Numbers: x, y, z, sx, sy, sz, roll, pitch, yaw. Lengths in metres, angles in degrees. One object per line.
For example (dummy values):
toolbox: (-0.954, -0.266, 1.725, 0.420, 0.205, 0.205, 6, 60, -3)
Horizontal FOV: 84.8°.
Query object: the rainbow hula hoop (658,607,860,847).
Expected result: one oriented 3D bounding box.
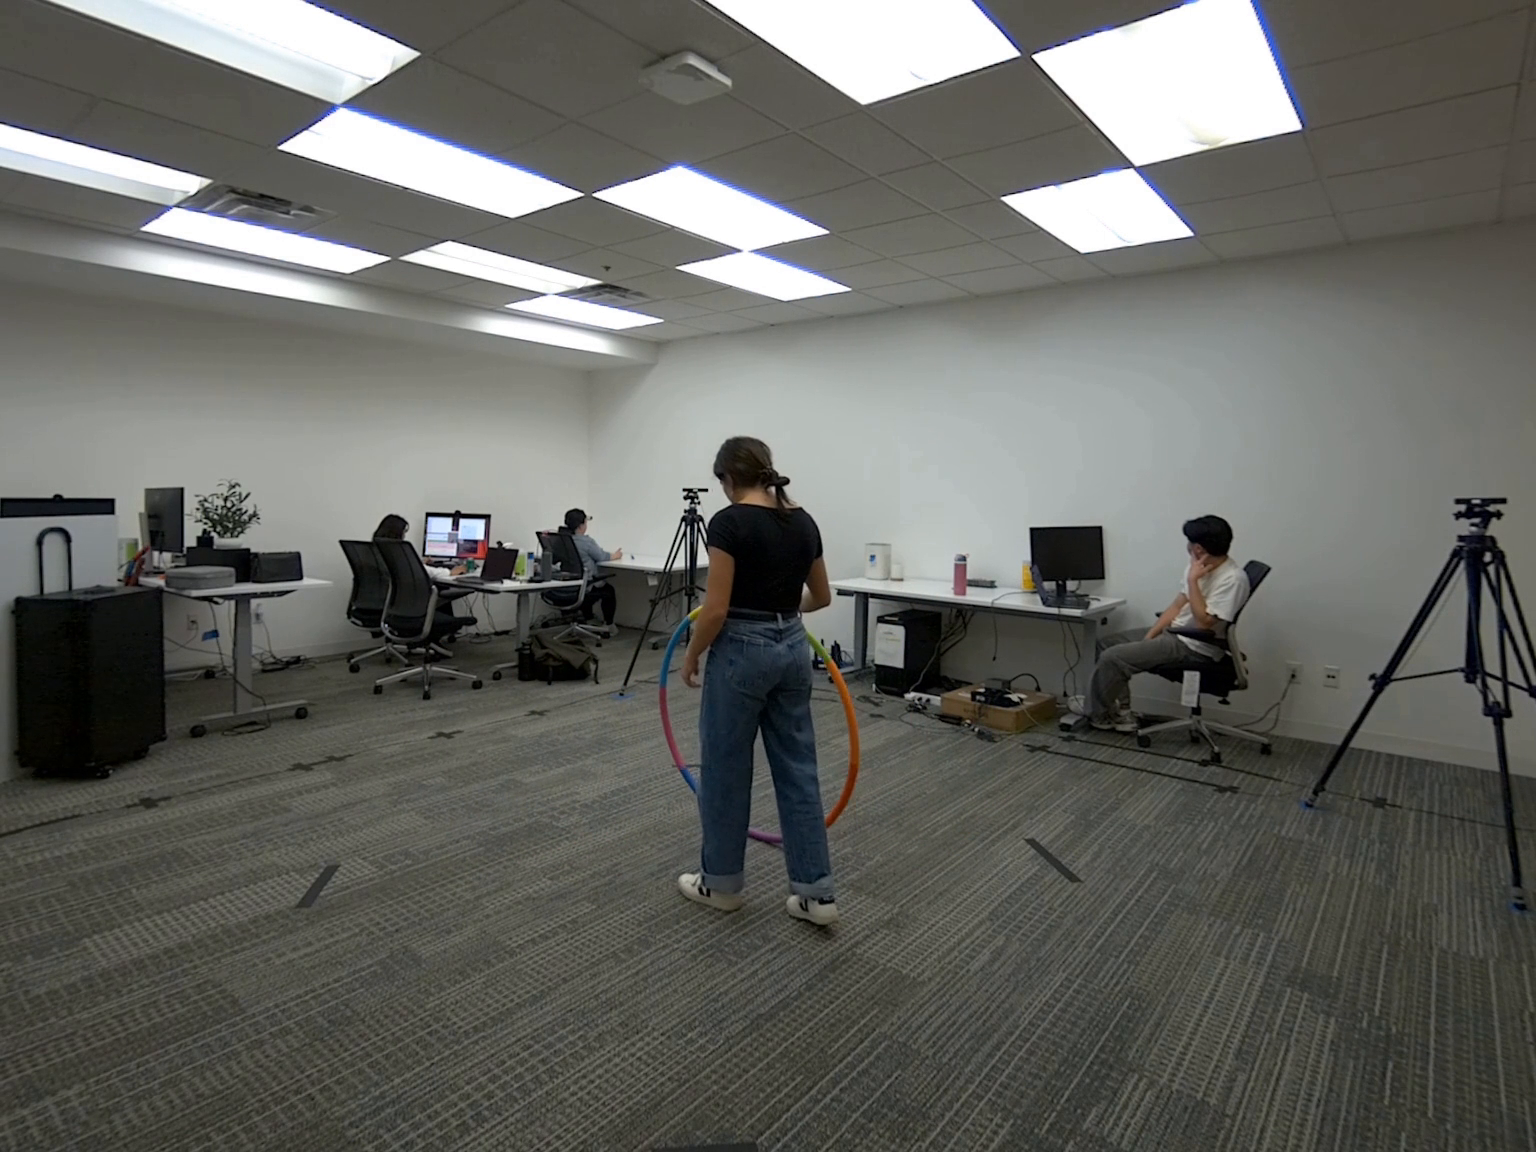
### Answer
rainbow hula hoop: (-0.066, 0.560, 3.349, 1.011, 0.971, 0.034, 4, 9, 39)
